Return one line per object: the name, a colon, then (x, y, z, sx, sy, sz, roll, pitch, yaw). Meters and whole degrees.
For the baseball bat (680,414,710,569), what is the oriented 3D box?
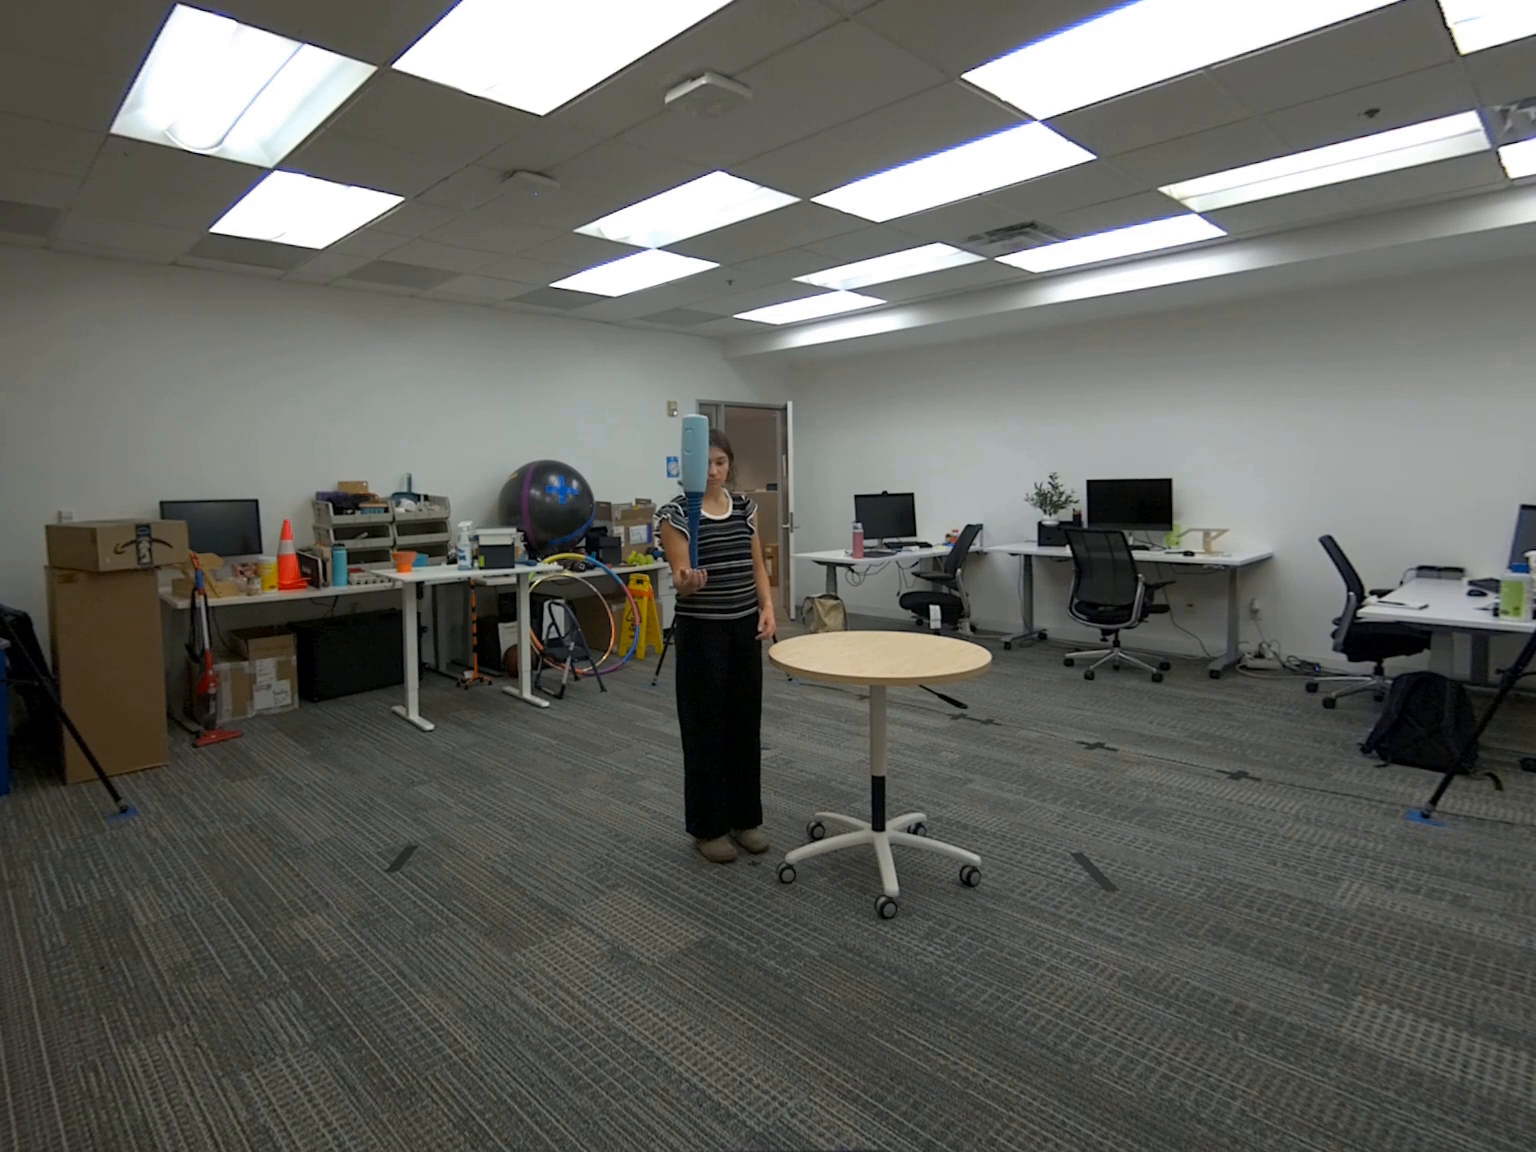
baseball bat: (-0.243, -0.254, 2.795, 0.089, 0.543, 0.089, 0, 0, -2)
